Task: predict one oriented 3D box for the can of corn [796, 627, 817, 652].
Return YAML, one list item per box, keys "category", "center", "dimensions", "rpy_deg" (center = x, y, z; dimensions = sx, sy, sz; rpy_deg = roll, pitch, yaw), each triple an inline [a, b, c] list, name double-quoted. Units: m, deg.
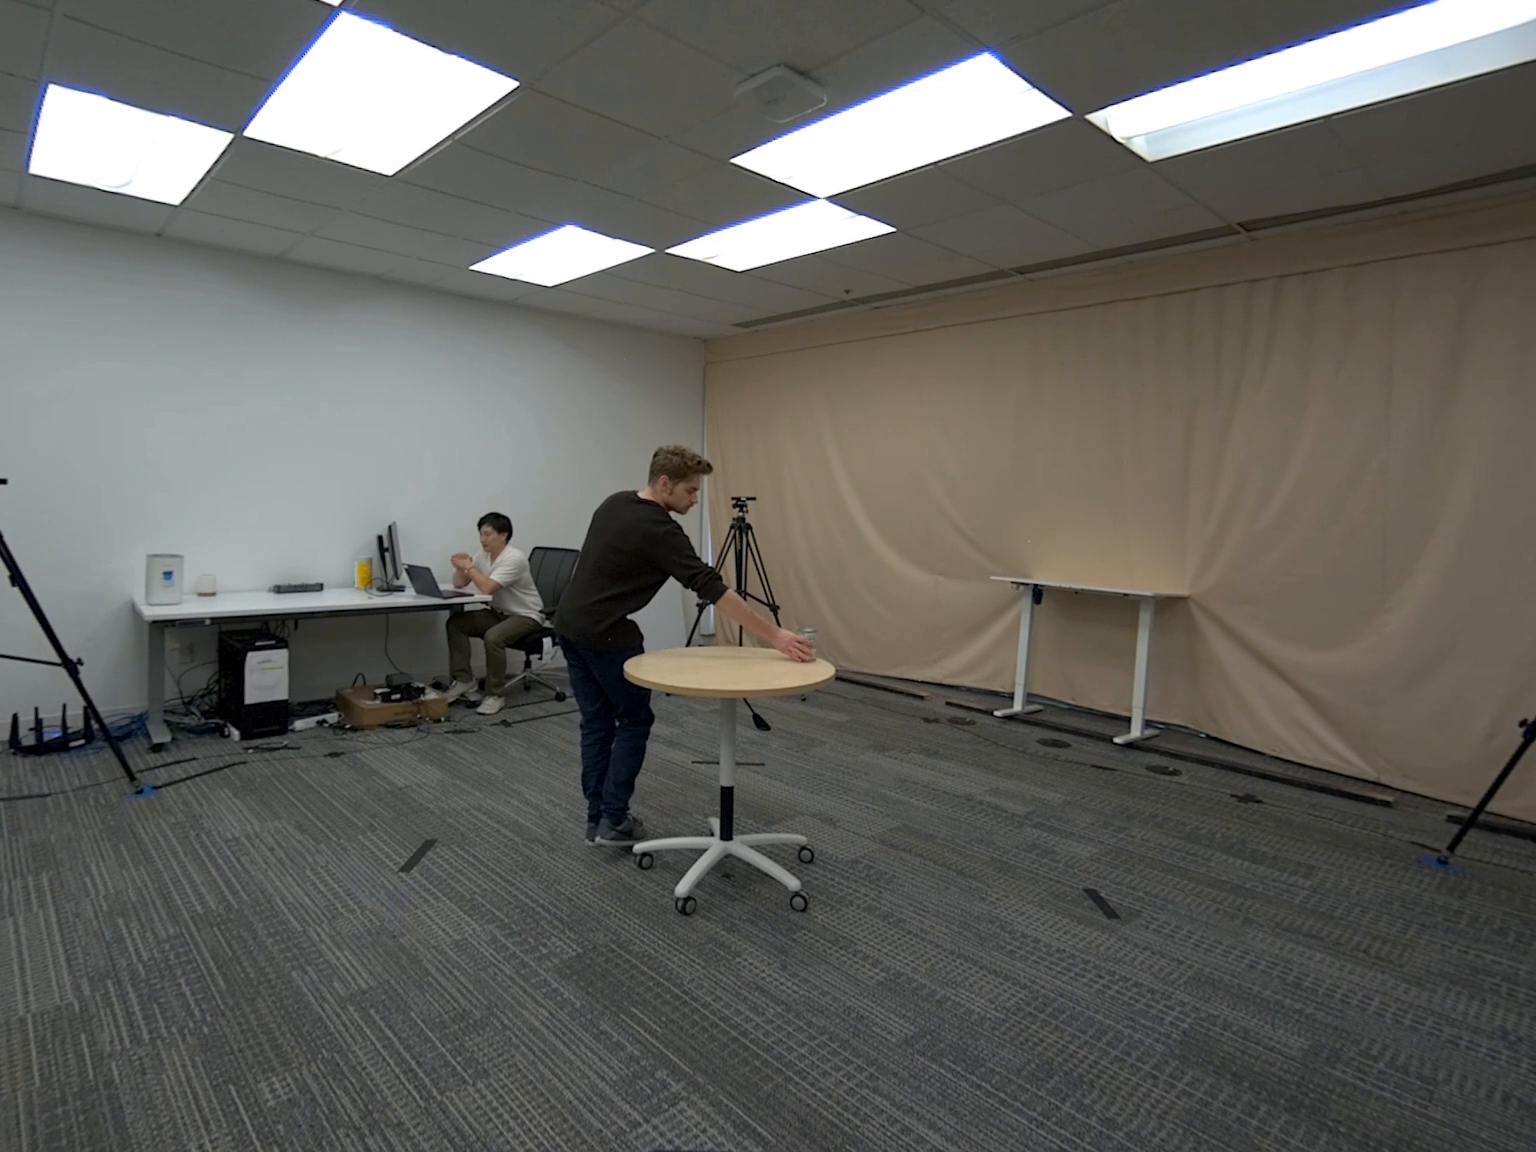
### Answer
- category: "can of corn"
  center: [0.144, 0.262, 3.191]
  dimensions: [0.074, 0.111, 0.074]
  rpy_deg: [3, 2, -1]
